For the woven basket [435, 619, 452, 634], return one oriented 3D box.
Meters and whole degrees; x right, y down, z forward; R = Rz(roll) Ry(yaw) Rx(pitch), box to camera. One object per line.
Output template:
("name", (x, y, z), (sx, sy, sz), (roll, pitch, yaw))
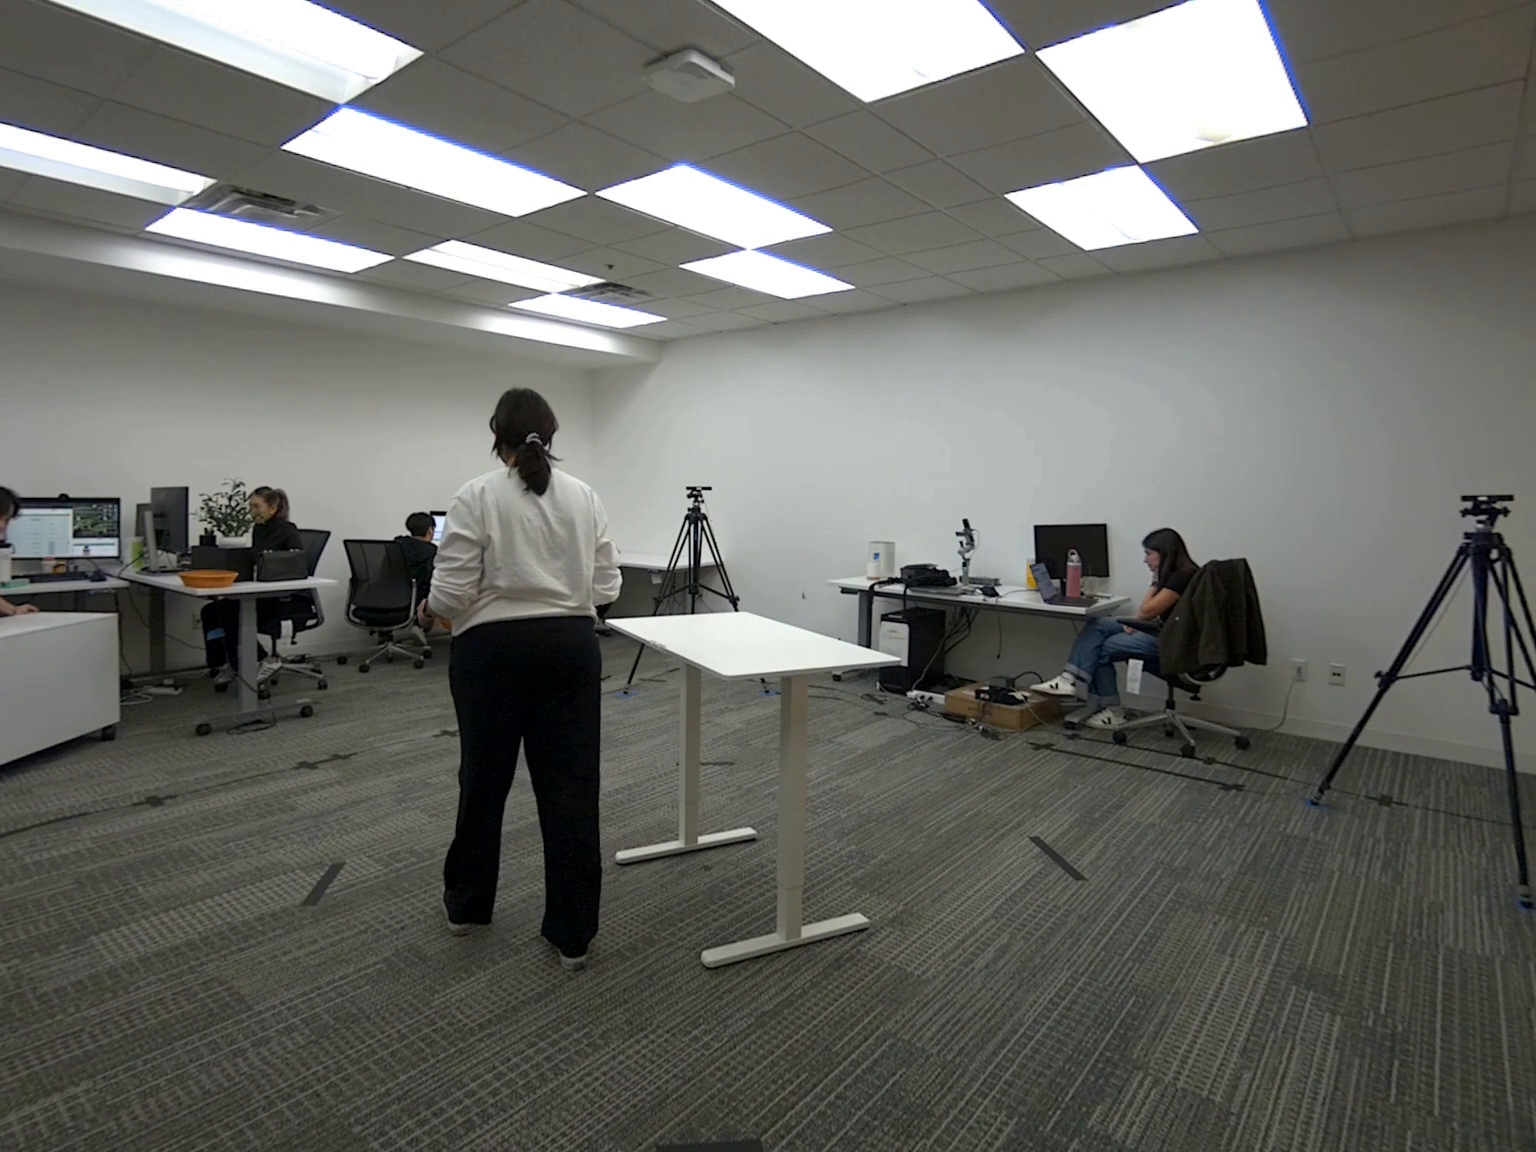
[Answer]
("woven basket", (-0.923, 0.125, 2.781), (0.340, 0.073, 0.261), (-4, 9, -38))
